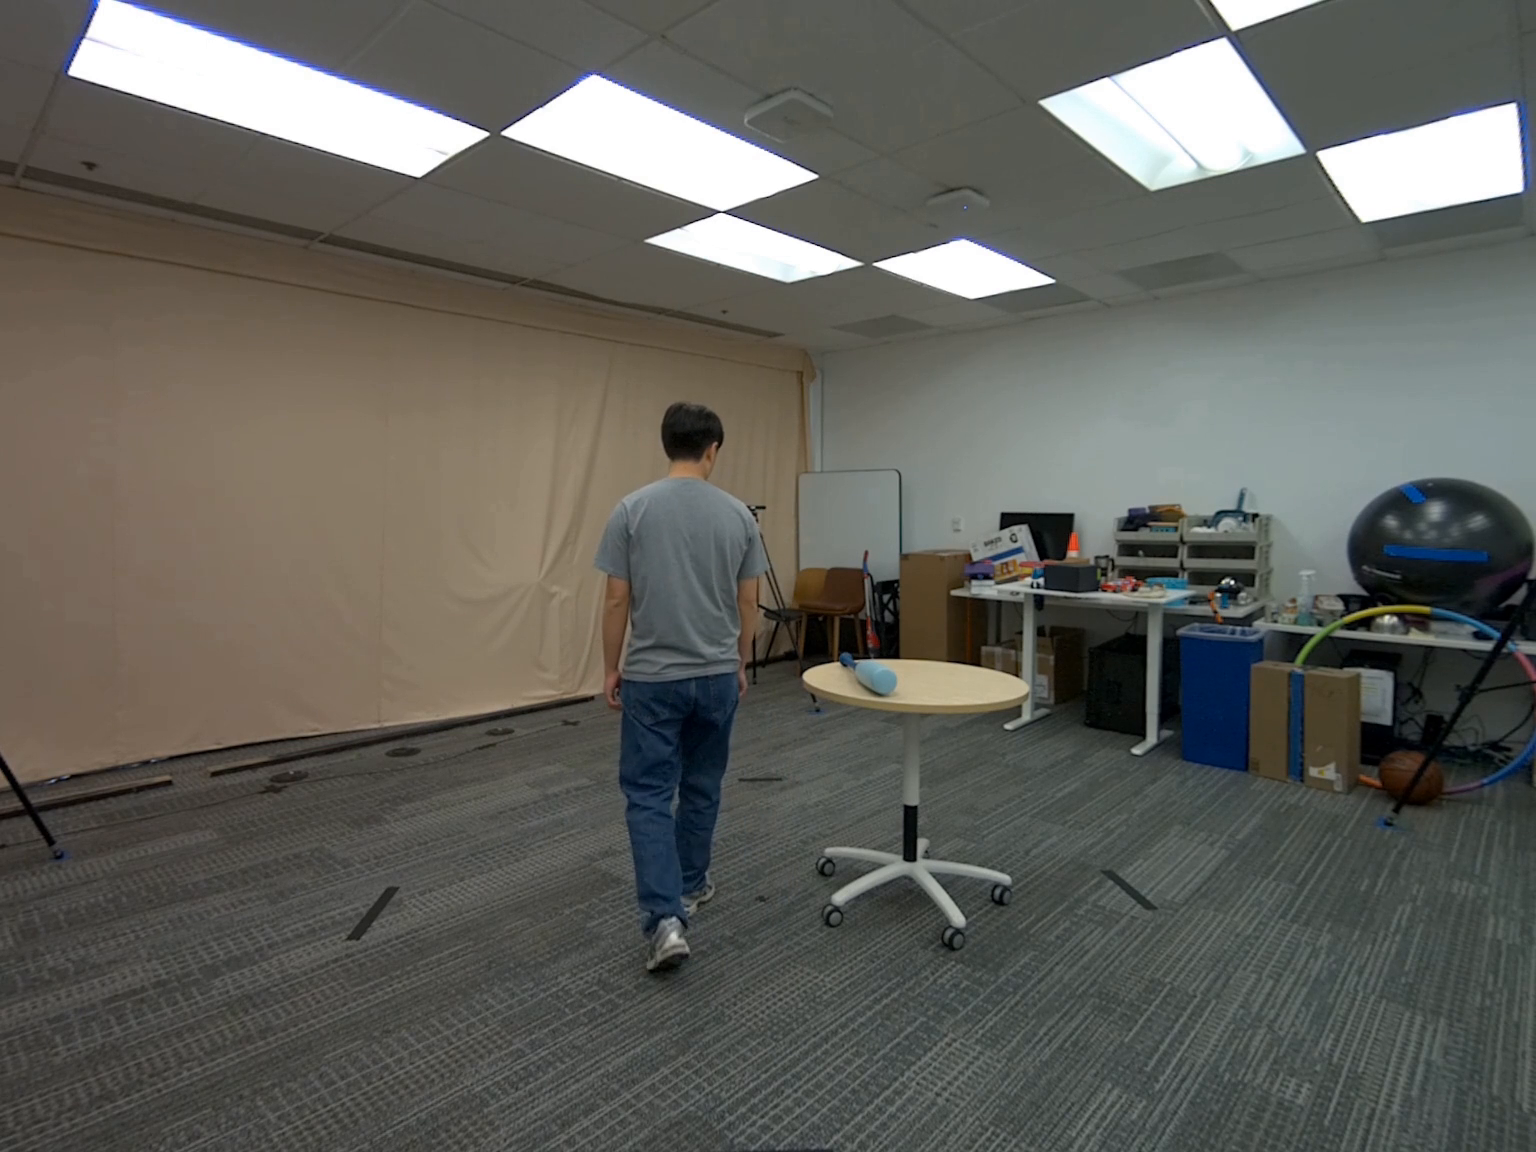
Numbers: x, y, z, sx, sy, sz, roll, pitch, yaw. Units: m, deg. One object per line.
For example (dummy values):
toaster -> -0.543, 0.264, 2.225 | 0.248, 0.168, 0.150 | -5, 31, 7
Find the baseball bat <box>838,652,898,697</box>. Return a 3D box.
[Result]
baseball bat -> 0.330, 0.327, 2.909 | 0.088, 0.089, 0.548 | -1, 1, -10
